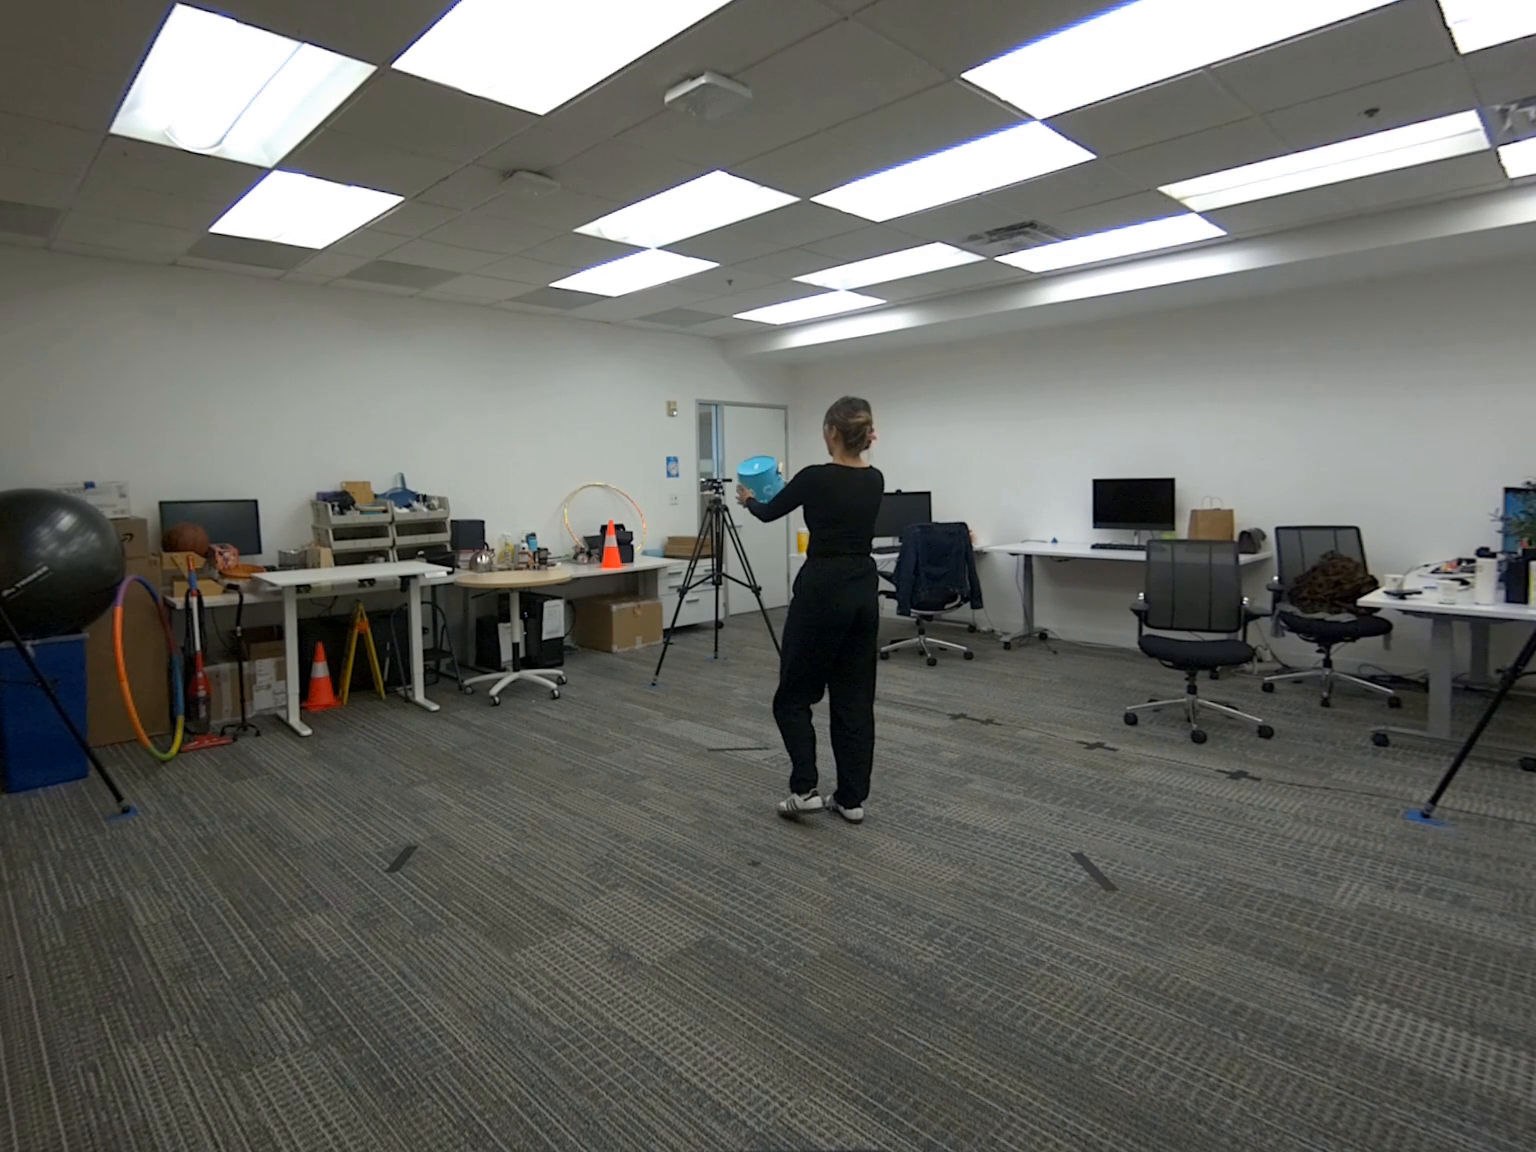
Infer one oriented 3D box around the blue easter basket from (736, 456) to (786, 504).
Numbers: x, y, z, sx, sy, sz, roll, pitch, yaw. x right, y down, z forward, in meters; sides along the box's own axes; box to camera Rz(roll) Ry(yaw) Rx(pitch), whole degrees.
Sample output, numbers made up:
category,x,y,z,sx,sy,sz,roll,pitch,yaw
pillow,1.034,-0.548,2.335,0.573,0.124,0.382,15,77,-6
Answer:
category,x,y,z,sx,sy,sz,roll,pitch,yaw
blue easter basket,-0.033,-0.443,3.915,0.245,0.151,0.249,-12,31,6
